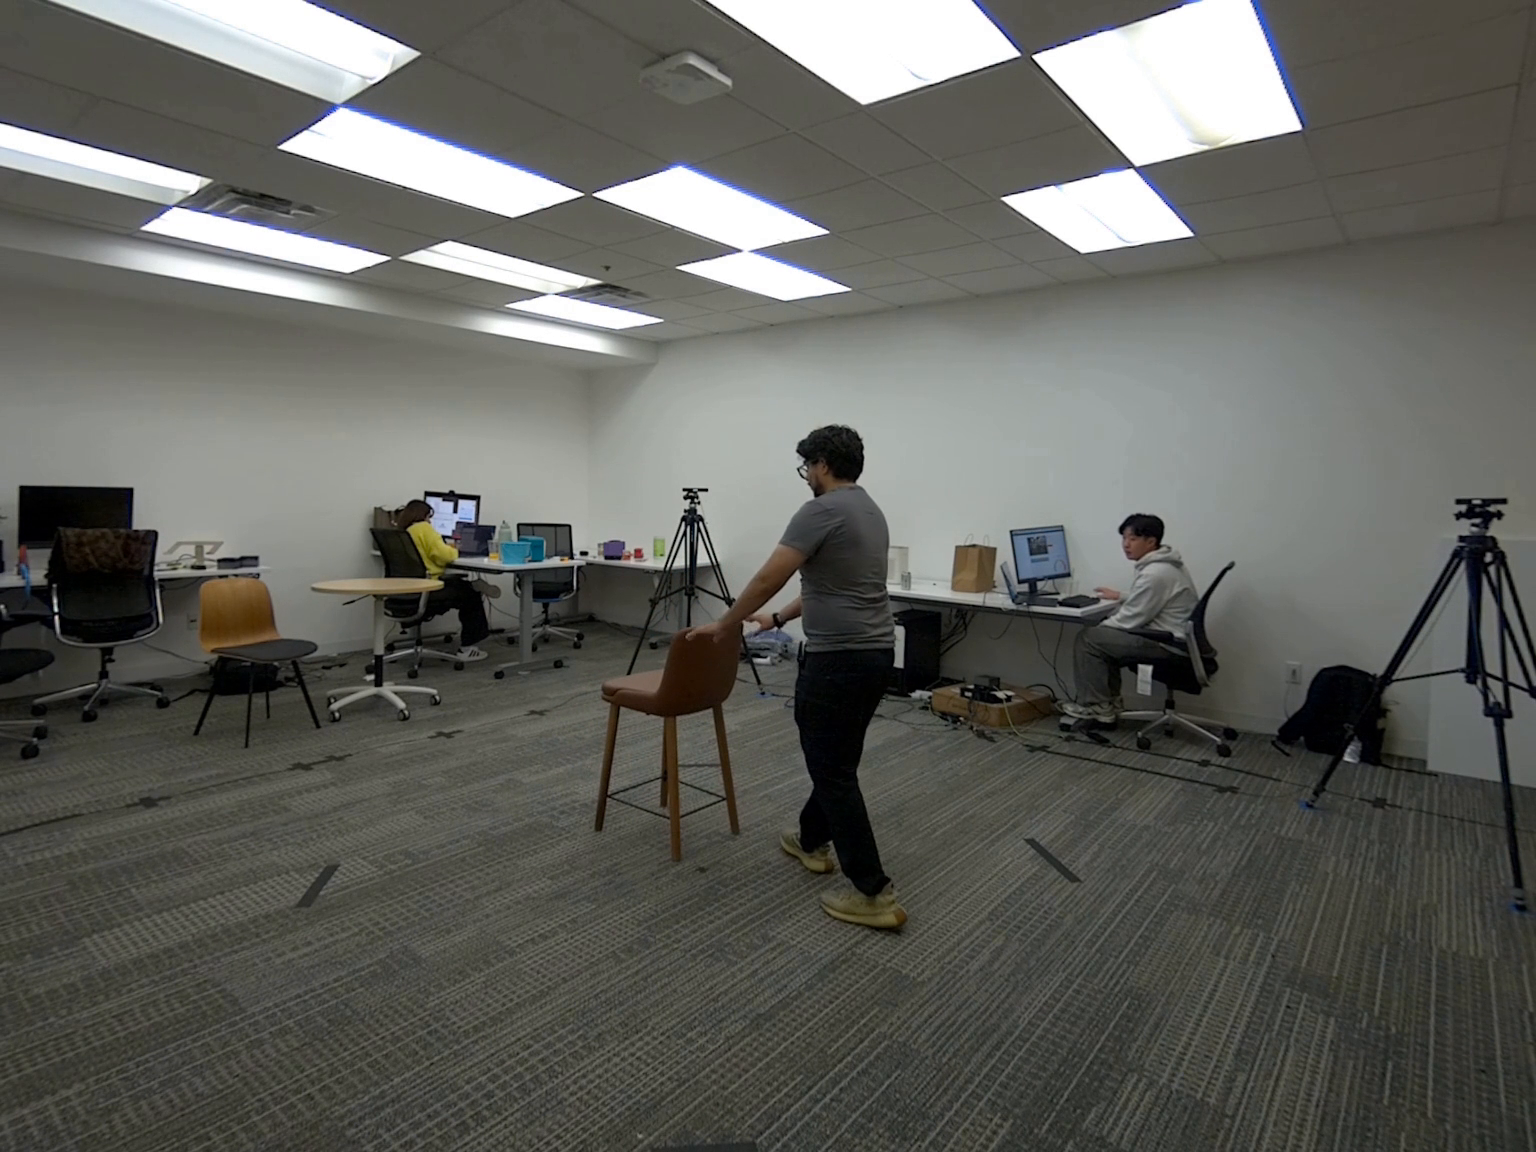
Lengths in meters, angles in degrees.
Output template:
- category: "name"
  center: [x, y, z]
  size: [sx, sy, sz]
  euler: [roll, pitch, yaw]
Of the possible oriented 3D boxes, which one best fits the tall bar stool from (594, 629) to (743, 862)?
- category: "tall bar stool"
  center: [-0.397, 0.597, 3.428]
  size: [0.484, 0.886, 0.443]
  euler: [6, 5, 39]
